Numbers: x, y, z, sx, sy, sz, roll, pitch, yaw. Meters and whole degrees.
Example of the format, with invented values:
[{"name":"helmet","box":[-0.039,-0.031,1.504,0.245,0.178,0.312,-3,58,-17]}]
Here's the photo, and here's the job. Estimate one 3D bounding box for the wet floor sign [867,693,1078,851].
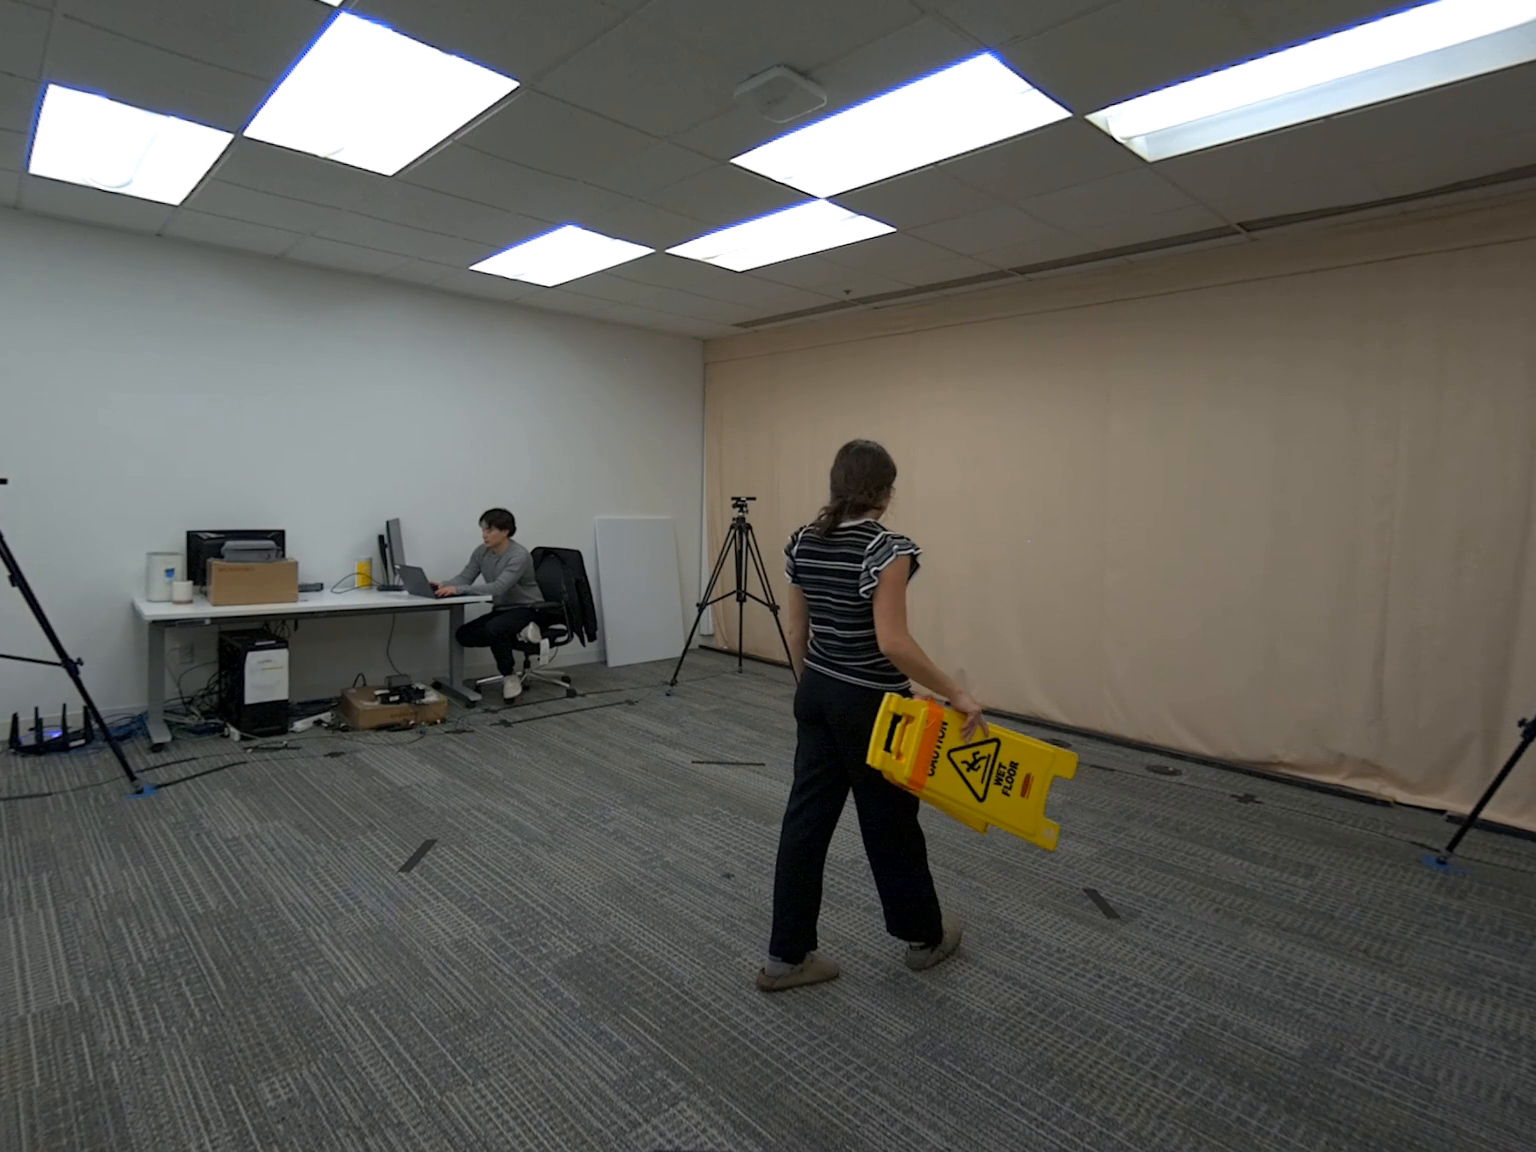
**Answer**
[{"name":"wet floor sign","box":[0.525,0.518,2.321,0.628,0.284,0.296,28,-18,-31]}]
